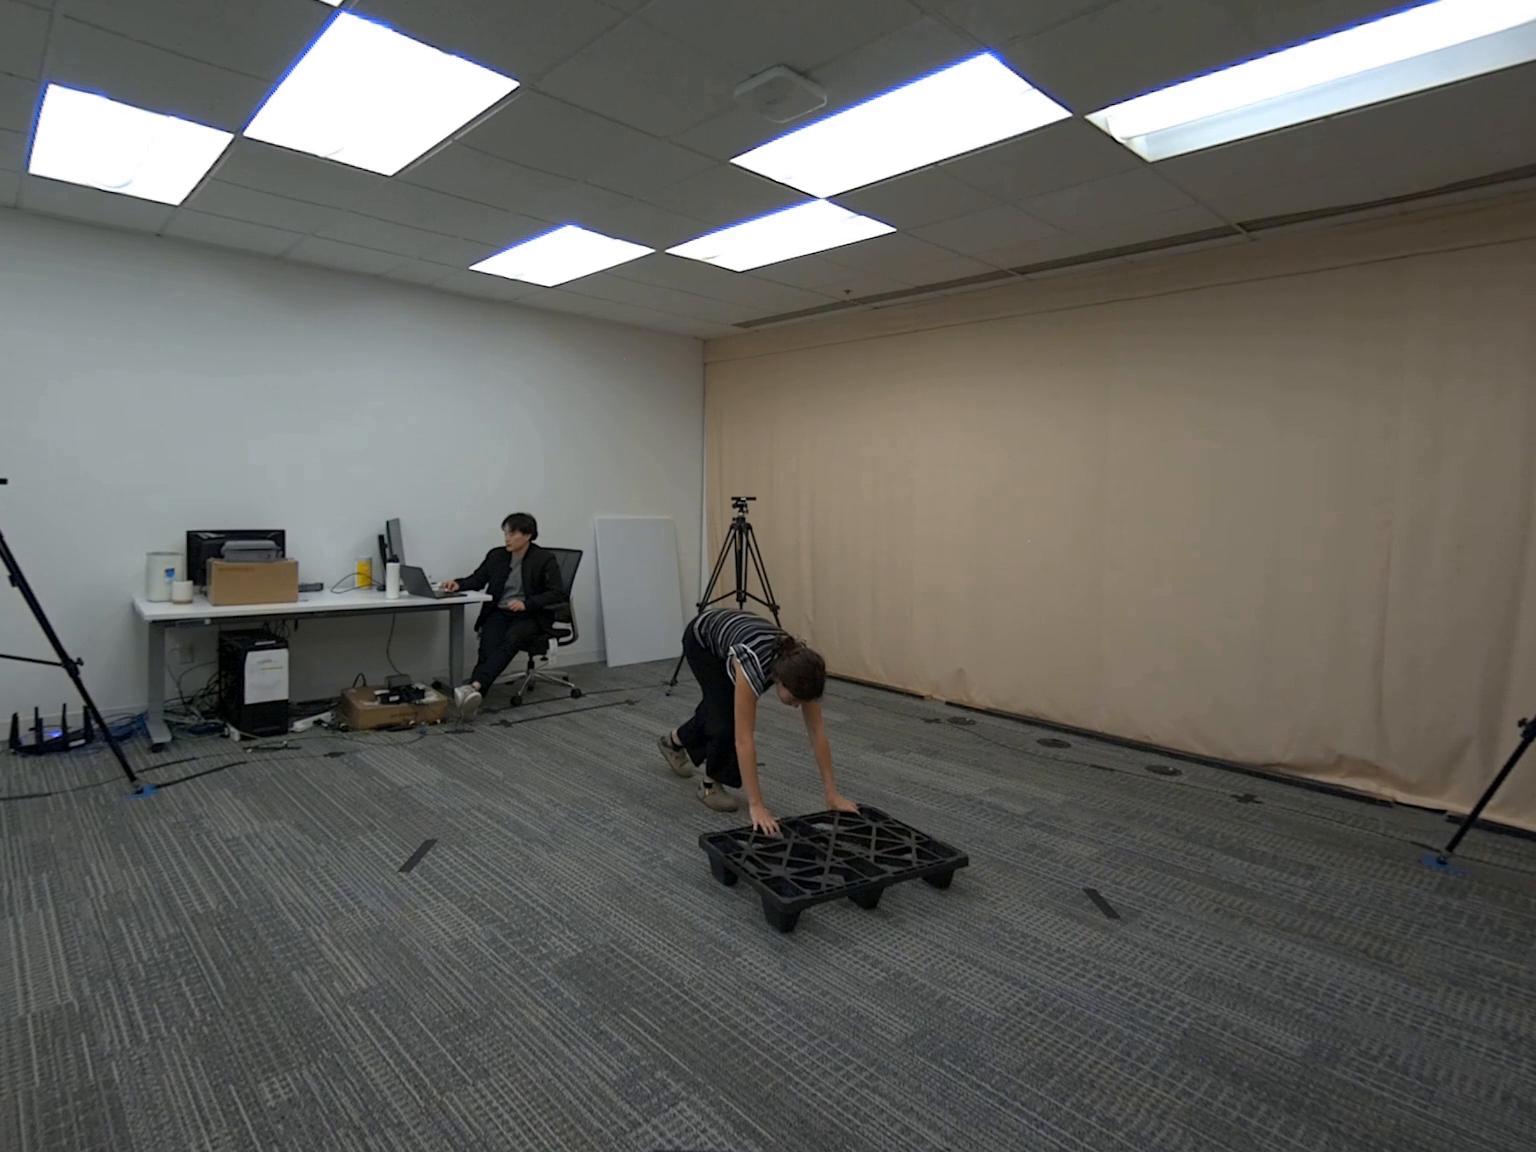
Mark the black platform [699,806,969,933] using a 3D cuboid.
[{"bbox_3d":[0.224,1.050,3.071,0.789,0.143,0.619,-2,7,-30],"label":"black platform"}]
